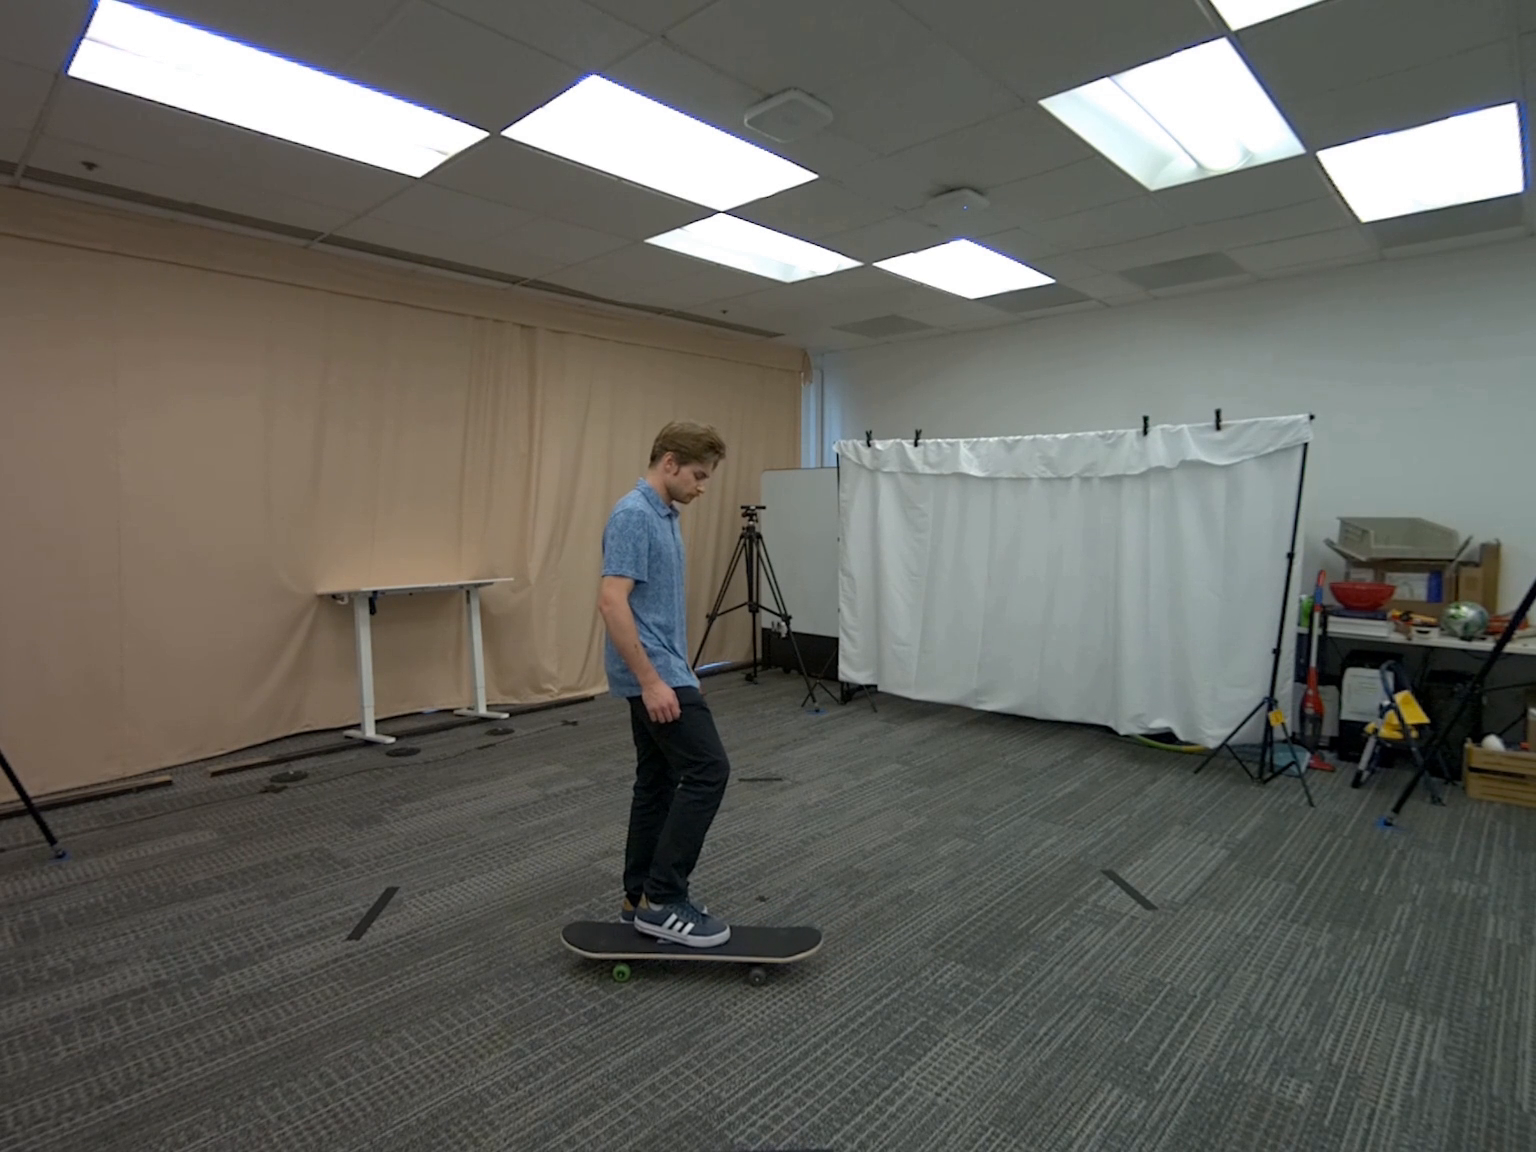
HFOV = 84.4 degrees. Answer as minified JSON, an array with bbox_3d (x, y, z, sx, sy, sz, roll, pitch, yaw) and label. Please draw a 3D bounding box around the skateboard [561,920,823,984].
[{"bbox_3d":[-0.222,1.119,2.536,0.788,0.110,0.193,0,3,3],"label":"skateboard"}]
